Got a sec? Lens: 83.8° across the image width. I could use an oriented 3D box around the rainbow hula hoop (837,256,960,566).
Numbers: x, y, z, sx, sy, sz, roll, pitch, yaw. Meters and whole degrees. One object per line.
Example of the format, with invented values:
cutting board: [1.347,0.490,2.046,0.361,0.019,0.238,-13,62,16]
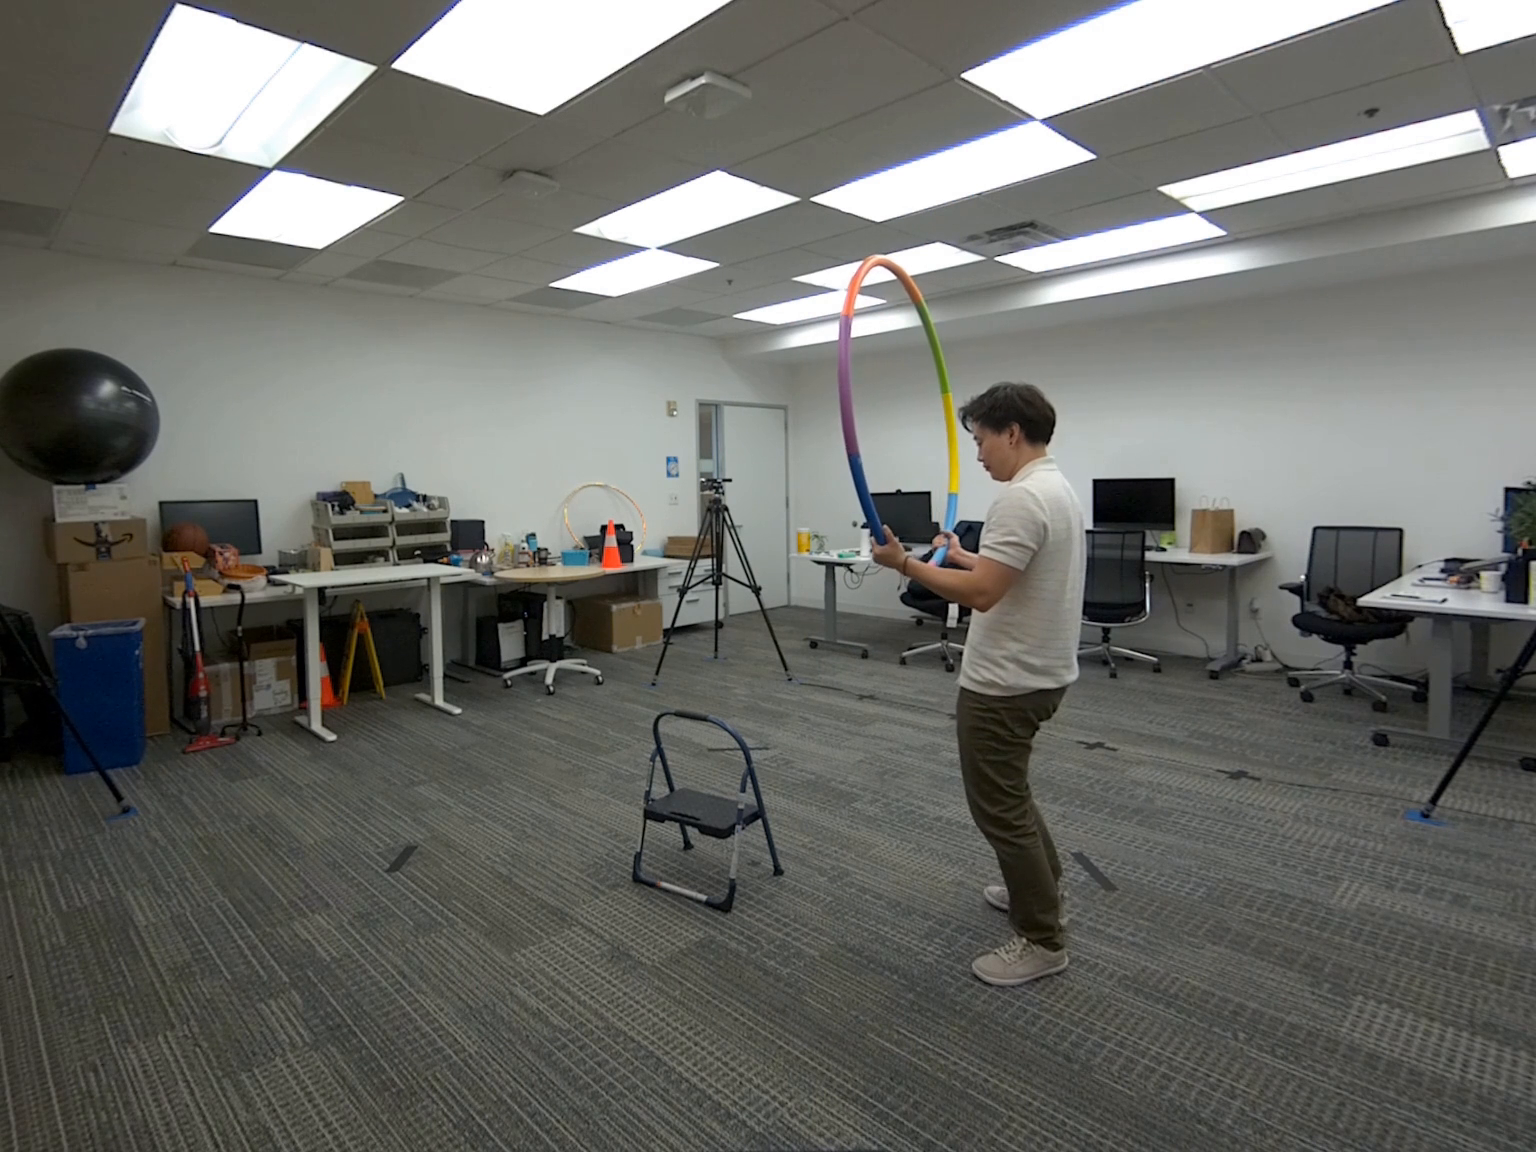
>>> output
rainbow hula hoop: [0.435,-0.483,2.631,0.036,0.978,0.958,-7,1,29]
